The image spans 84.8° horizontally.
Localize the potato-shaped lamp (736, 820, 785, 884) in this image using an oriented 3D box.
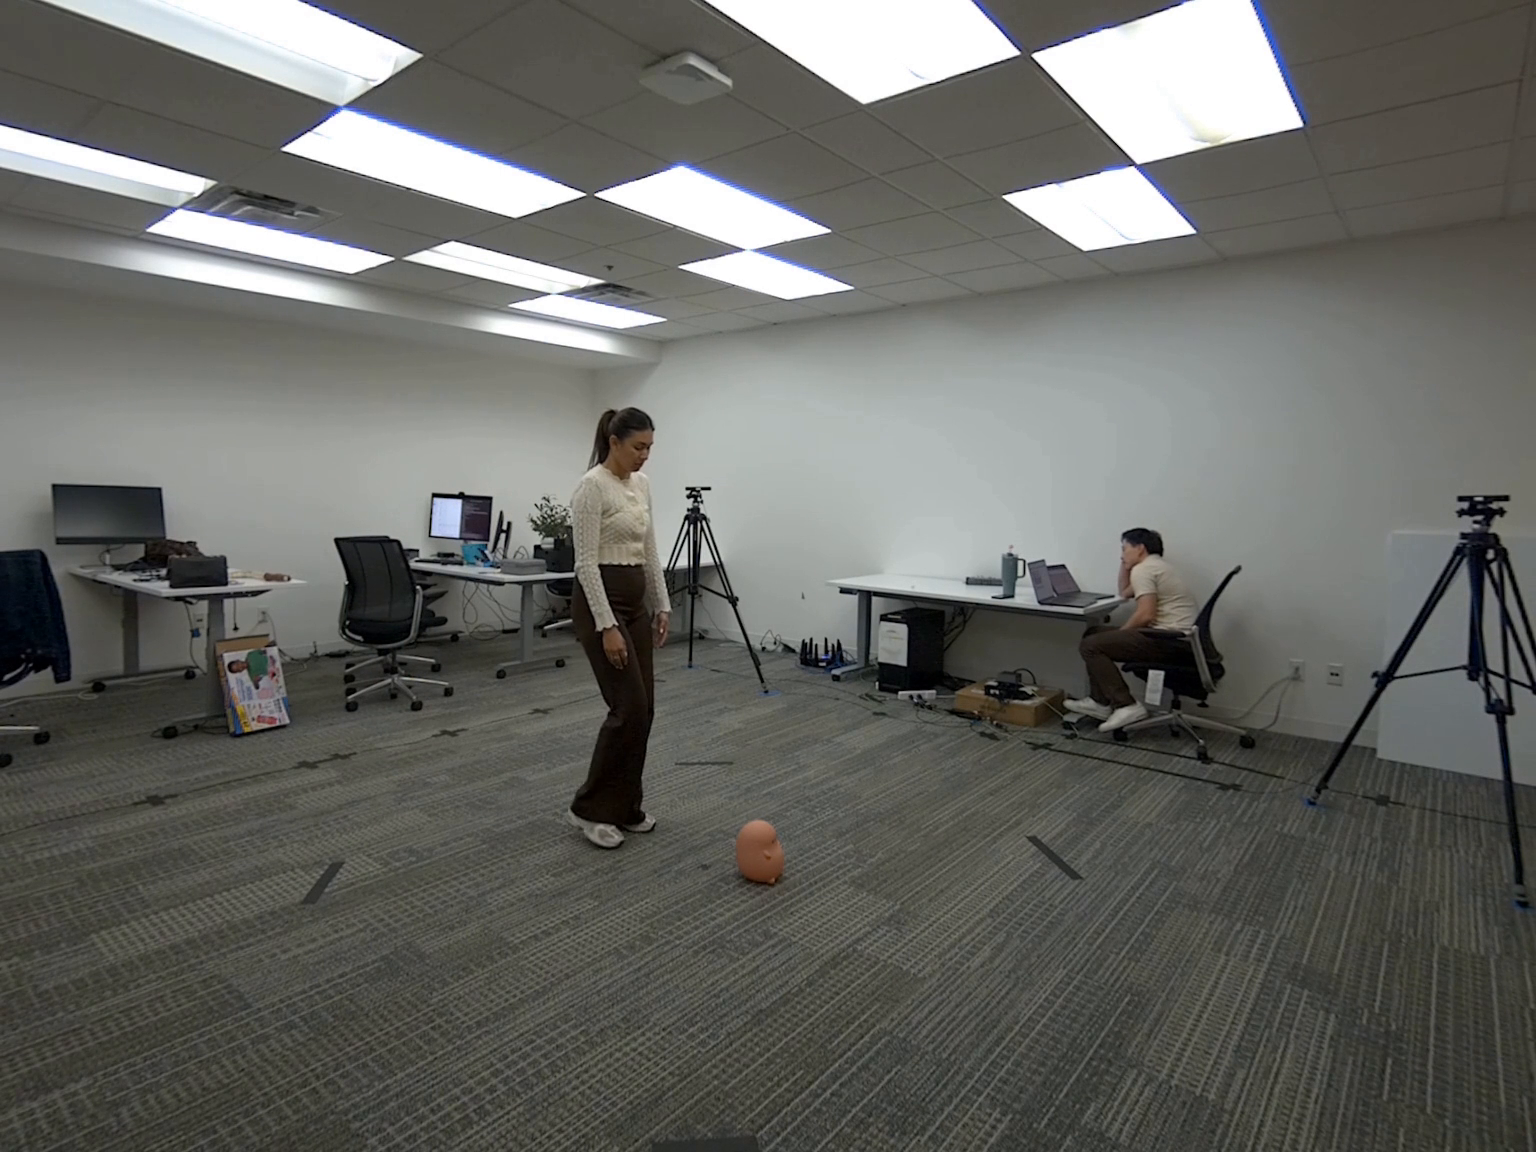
[{"bbox_3d":[-0.035,0.976,3.049,0.175,0.197,0.161,0,4,22],"label":"potato-shaped lamp"}]
